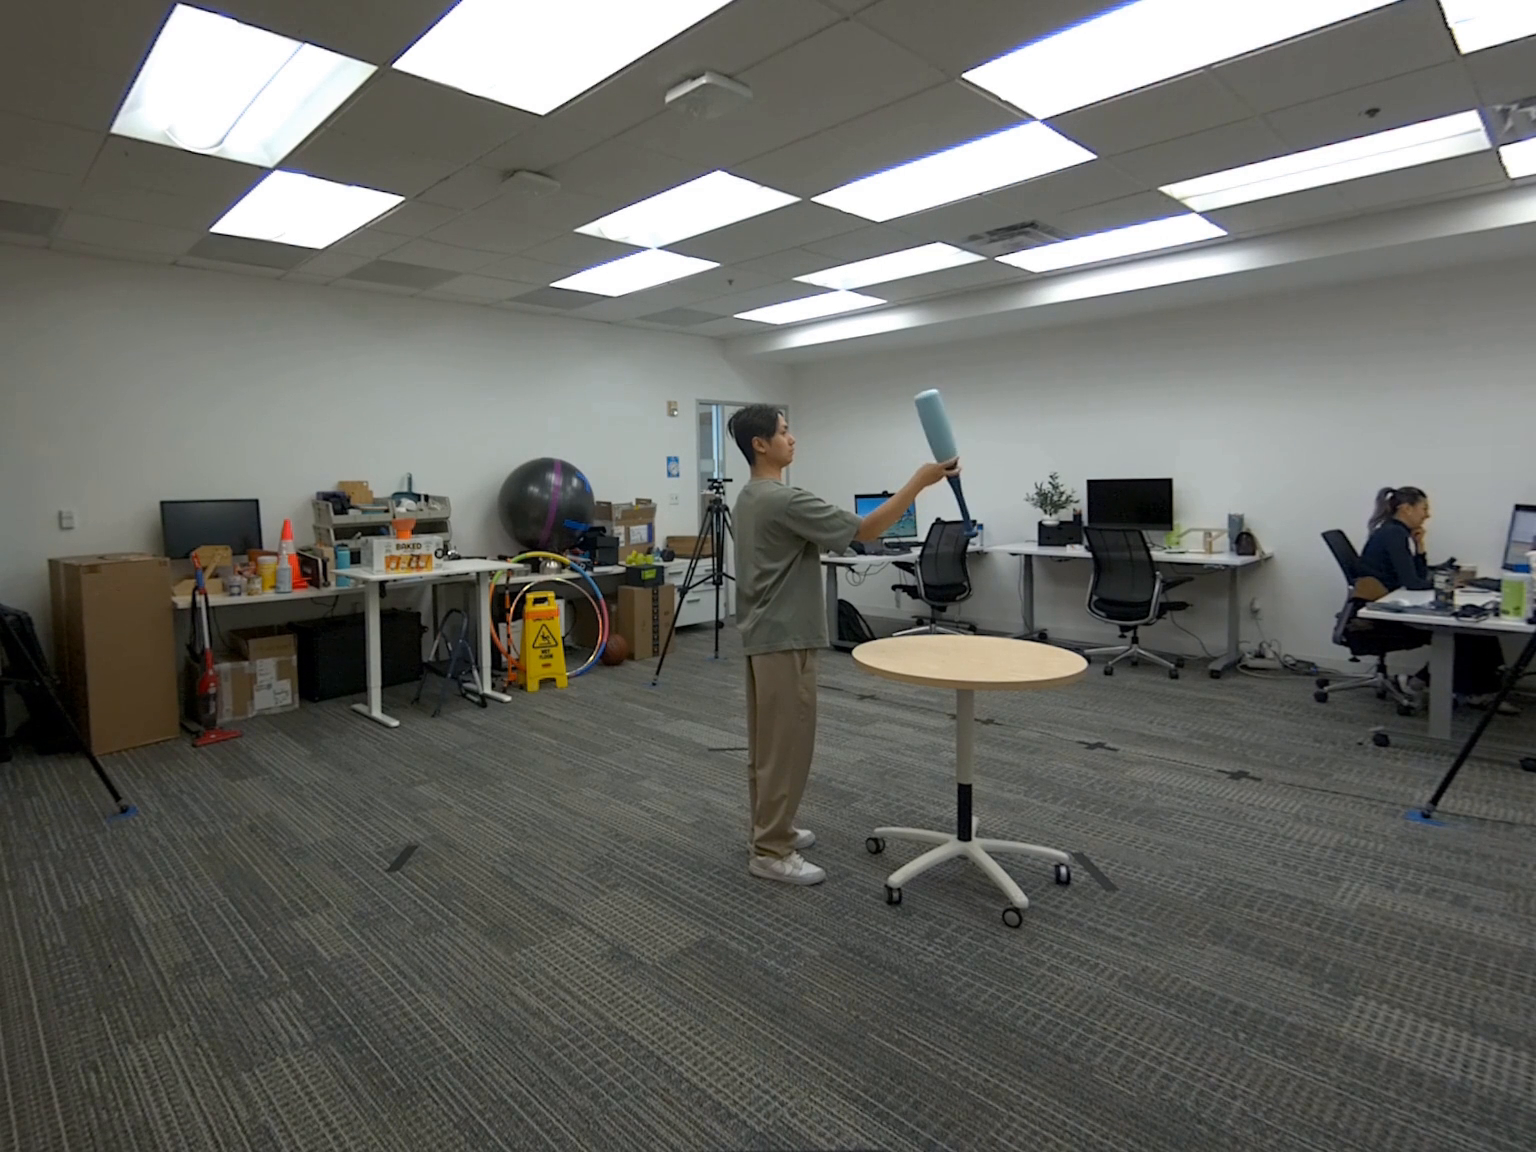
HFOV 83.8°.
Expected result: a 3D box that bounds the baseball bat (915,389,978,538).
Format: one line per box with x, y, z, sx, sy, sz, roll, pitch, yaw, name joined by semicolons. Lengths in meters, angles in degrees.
0.626;-0.376;2.946;0.089;0.533;0.090;-20;15;4;baseball bat
